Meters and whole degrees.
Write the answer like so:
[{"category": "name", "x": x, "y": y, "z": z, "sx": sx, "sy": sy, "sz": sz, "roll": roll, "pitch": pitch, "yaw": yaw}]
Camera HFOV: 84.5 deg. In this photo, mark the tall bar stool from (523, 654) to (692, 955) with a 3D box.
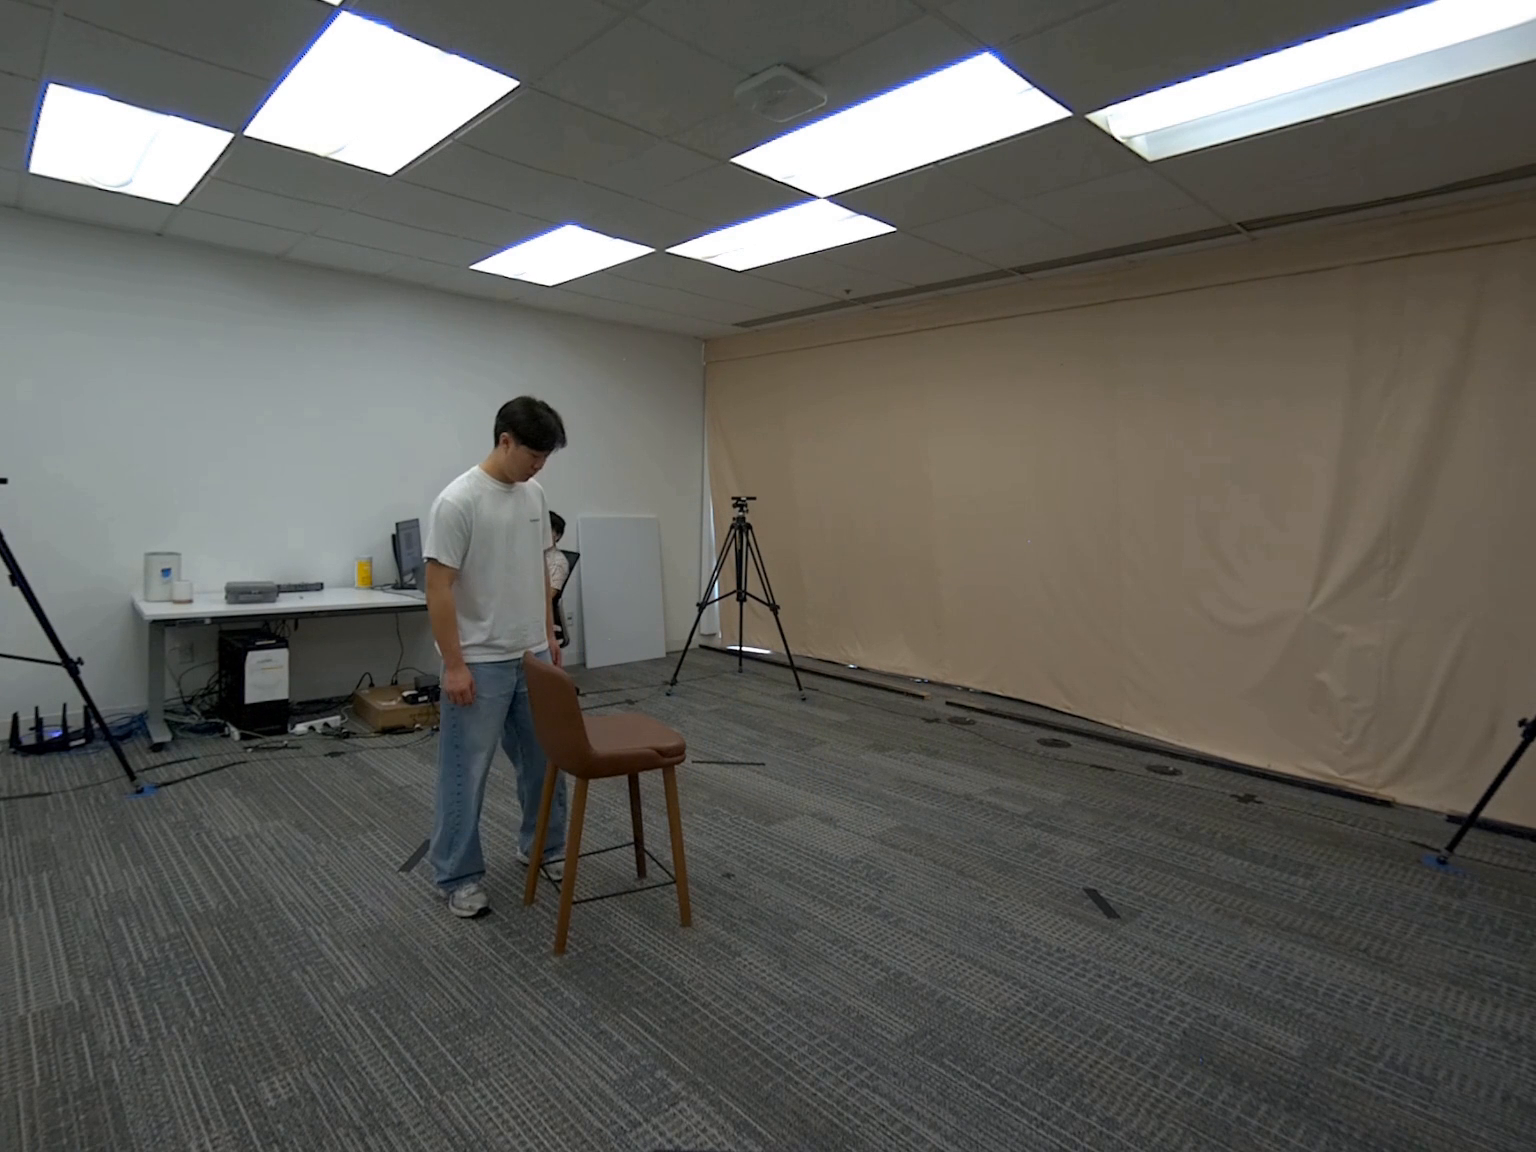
[{"category": "tall bar stool", "x": -0.545, "y": 0.691, "z": 2.773, "sx": 0.458, "sy": 0.887, "sz": 0.467, "roll": -3, "pitch": 5, "yaw": -31}]
